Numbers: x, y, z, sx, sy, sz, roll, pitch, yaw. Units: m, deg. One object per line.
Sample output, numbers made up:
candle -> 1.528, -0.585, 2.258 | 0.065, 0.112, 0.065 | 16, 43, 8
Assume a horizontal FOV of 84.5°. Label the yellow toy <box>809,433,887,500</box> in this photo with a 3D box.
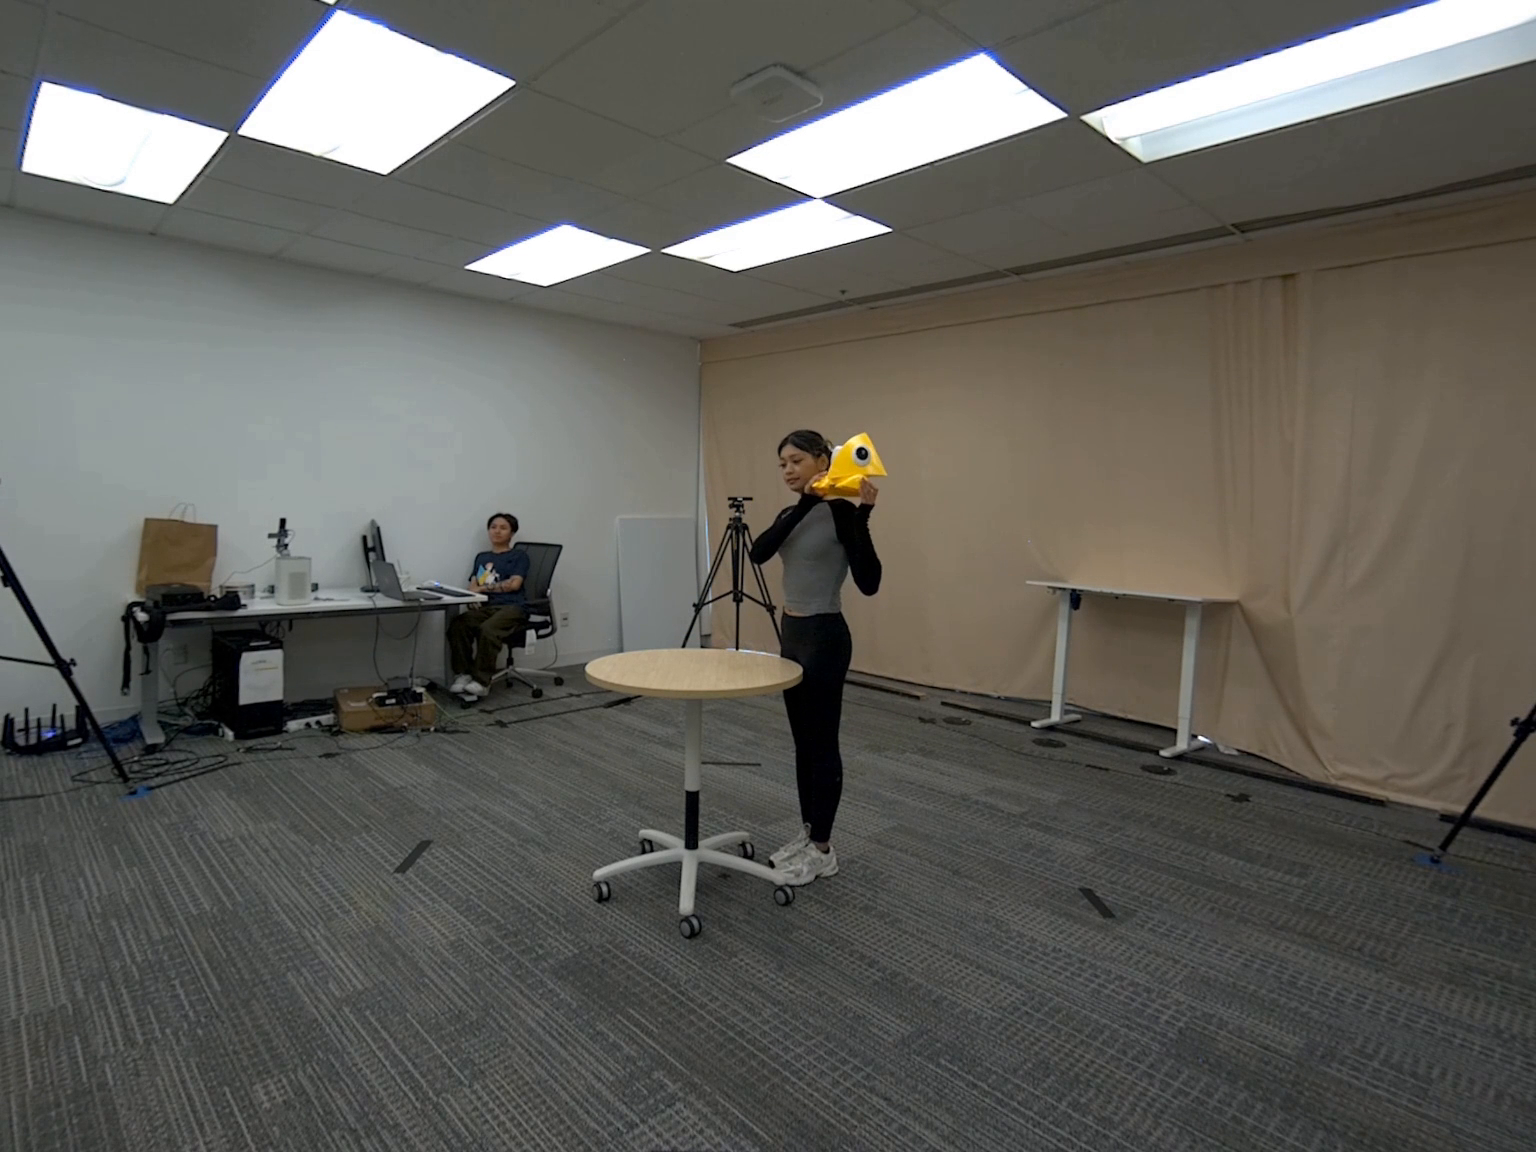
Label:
yellow toy -> 0.271, -0.400, 2.908 | 0.188, 0.231, 0.210 | 14, -6, -41
